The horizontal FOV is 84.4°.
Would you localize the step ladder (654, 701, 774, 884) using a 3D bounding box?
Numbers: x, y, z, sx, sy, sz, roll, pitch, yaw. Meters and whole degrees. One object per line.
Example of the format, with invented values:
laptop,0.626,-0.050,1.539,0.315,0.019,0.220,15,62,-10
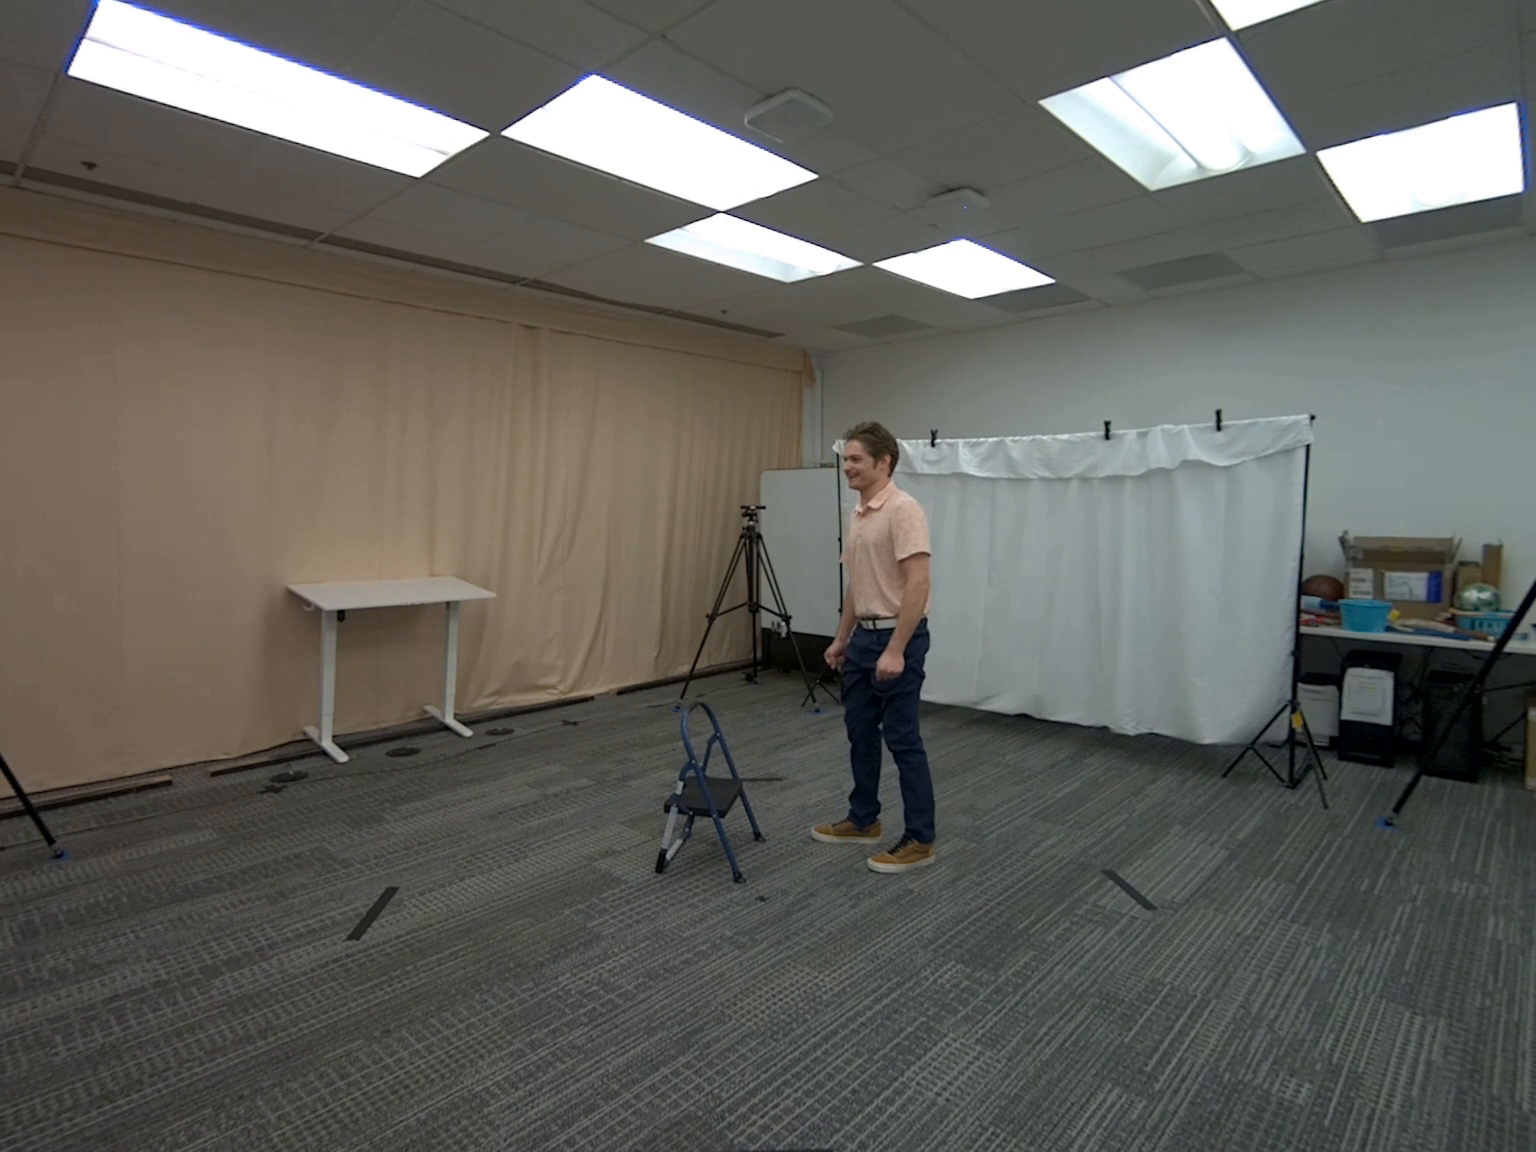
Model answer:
step ladder,-0.223,0.815,3.337,0.354,0.605,0.425,0,3,12
